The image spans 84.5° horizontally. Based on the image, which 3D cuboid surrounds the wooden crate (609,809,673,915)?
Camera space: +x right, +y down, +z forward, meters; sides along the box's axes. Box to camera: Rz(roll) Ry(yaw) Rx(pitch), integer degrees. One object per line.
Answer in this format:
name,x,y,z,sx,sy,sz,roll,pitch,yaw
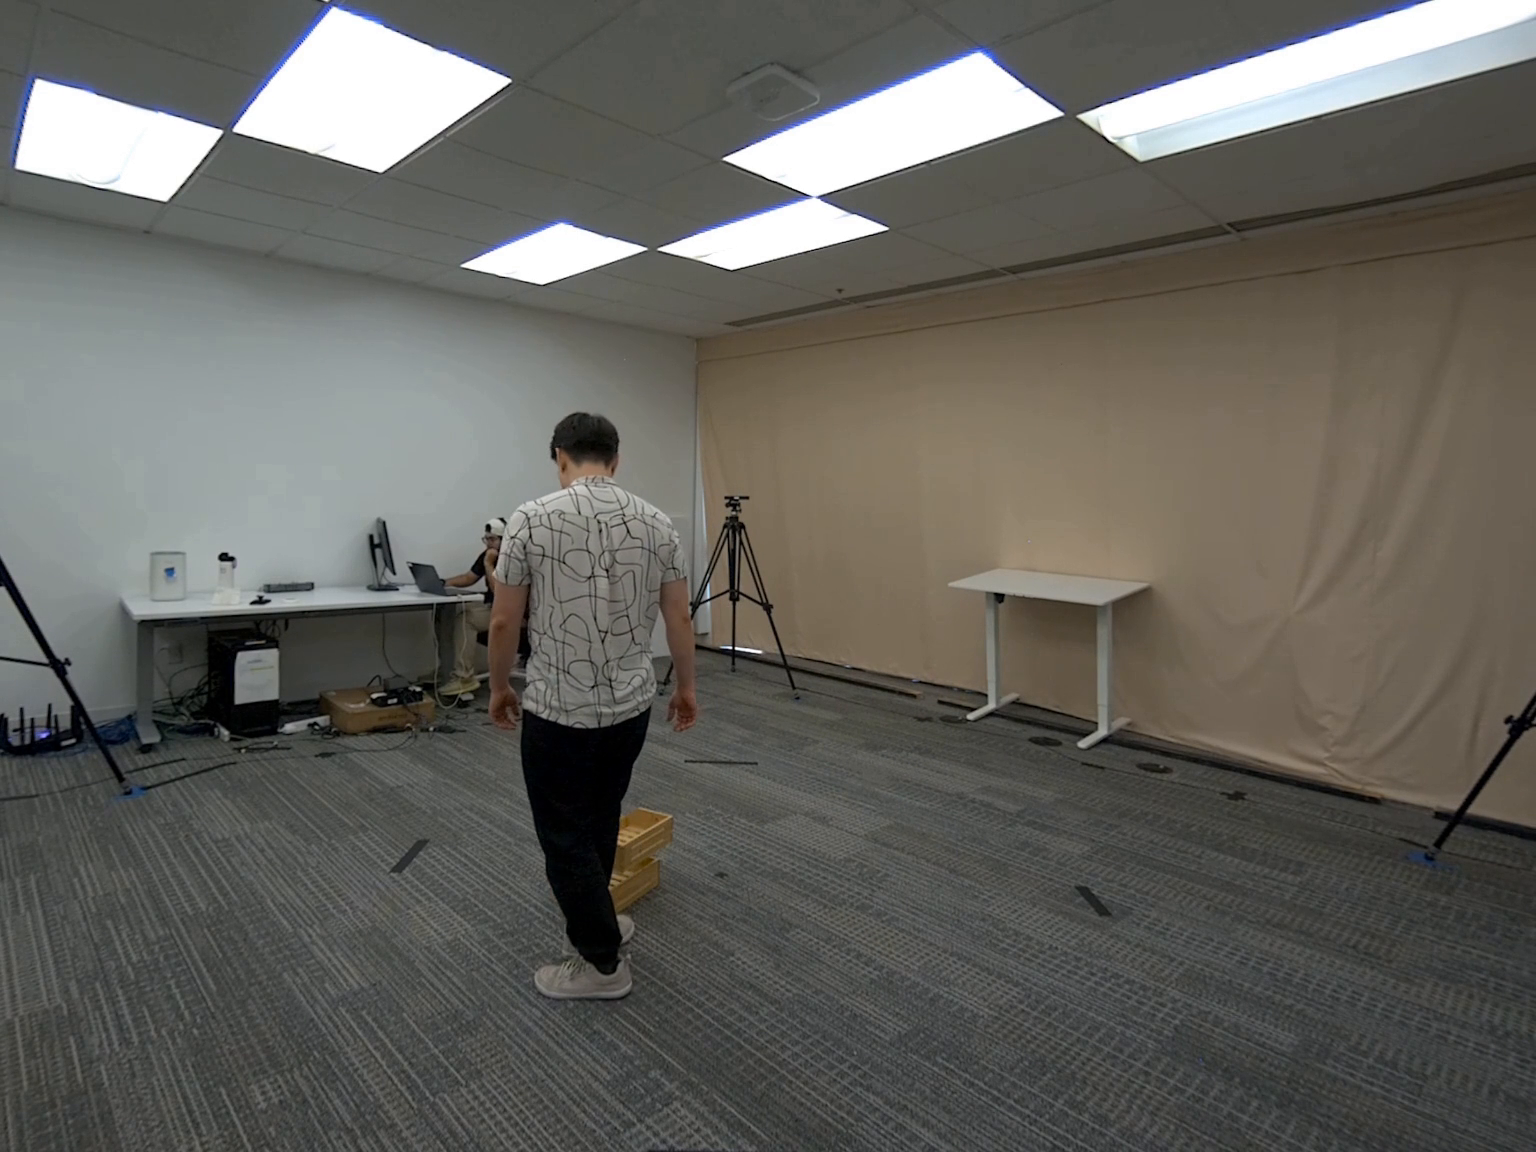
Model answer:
wooden crate,-0.548,0.980,2.923,0.308,0.272,0.319,4,5,27
